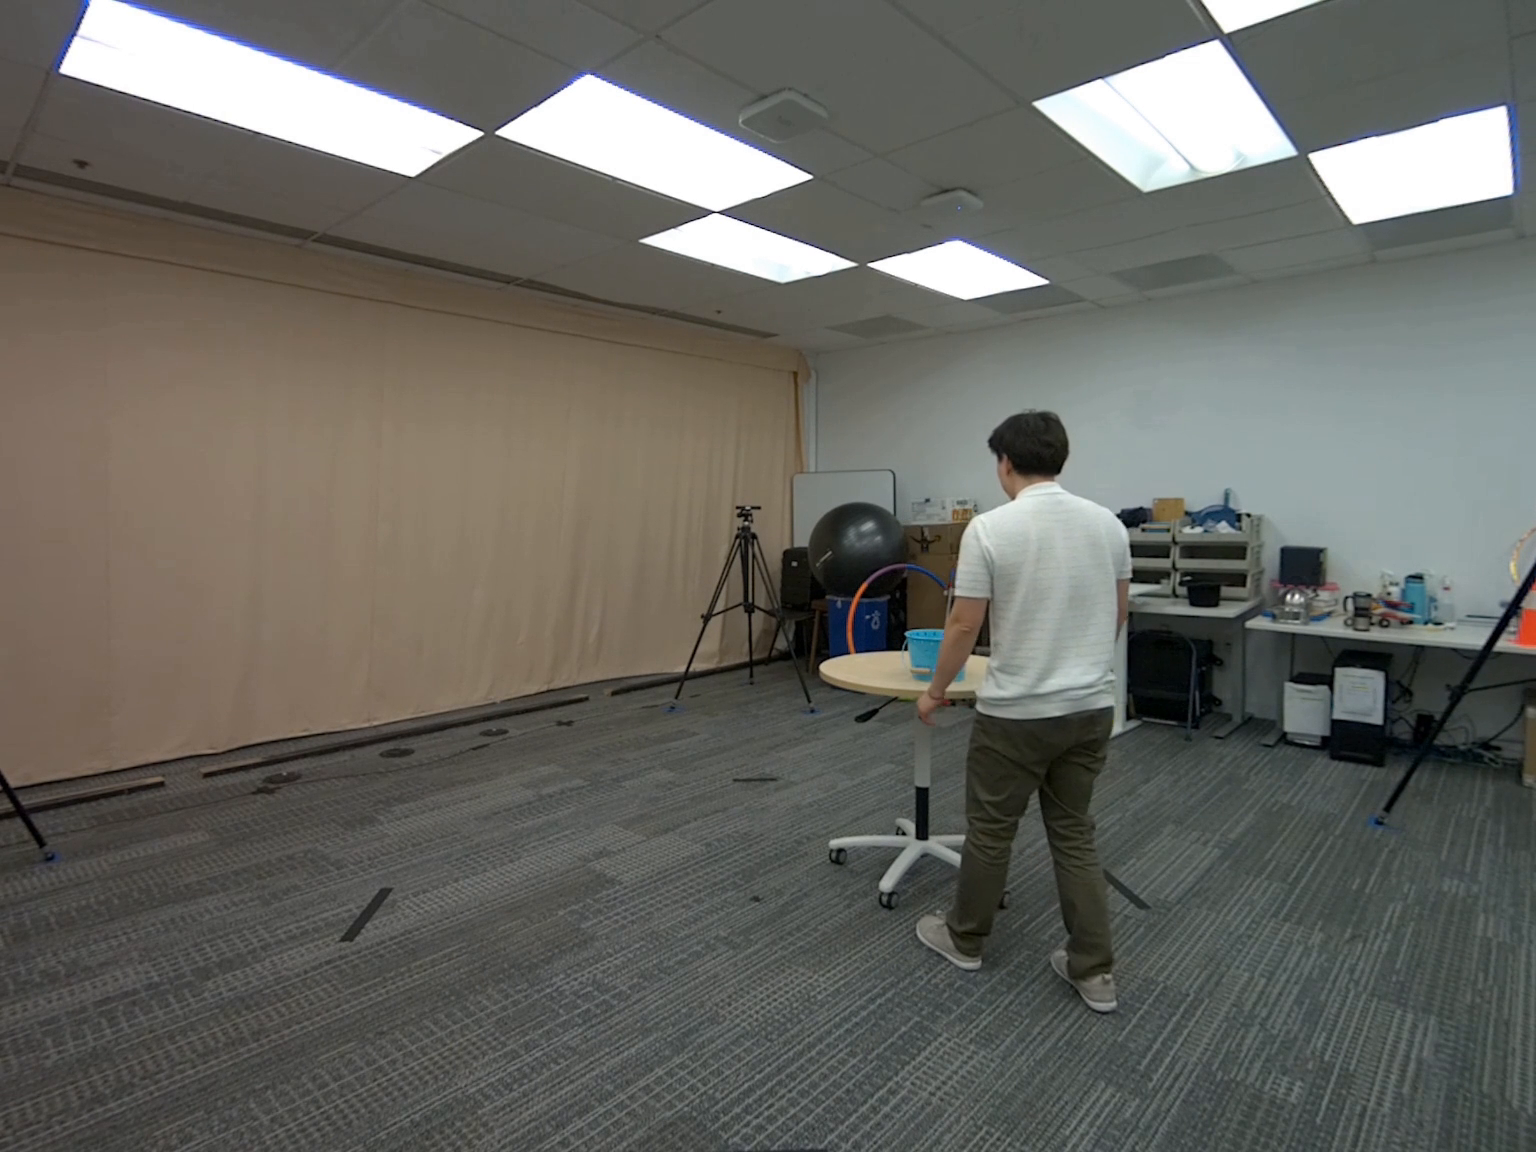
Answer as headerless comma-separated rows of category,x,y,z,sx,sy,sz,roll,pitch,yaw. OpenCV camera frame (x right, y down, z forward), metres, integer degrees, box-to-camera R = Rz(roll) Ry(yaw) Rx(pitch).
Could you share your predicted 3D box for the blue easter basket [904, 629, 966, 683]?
blue easter basket,0.603,0.284,2.988,0.243,0.155,0.244,-1,5,-2
